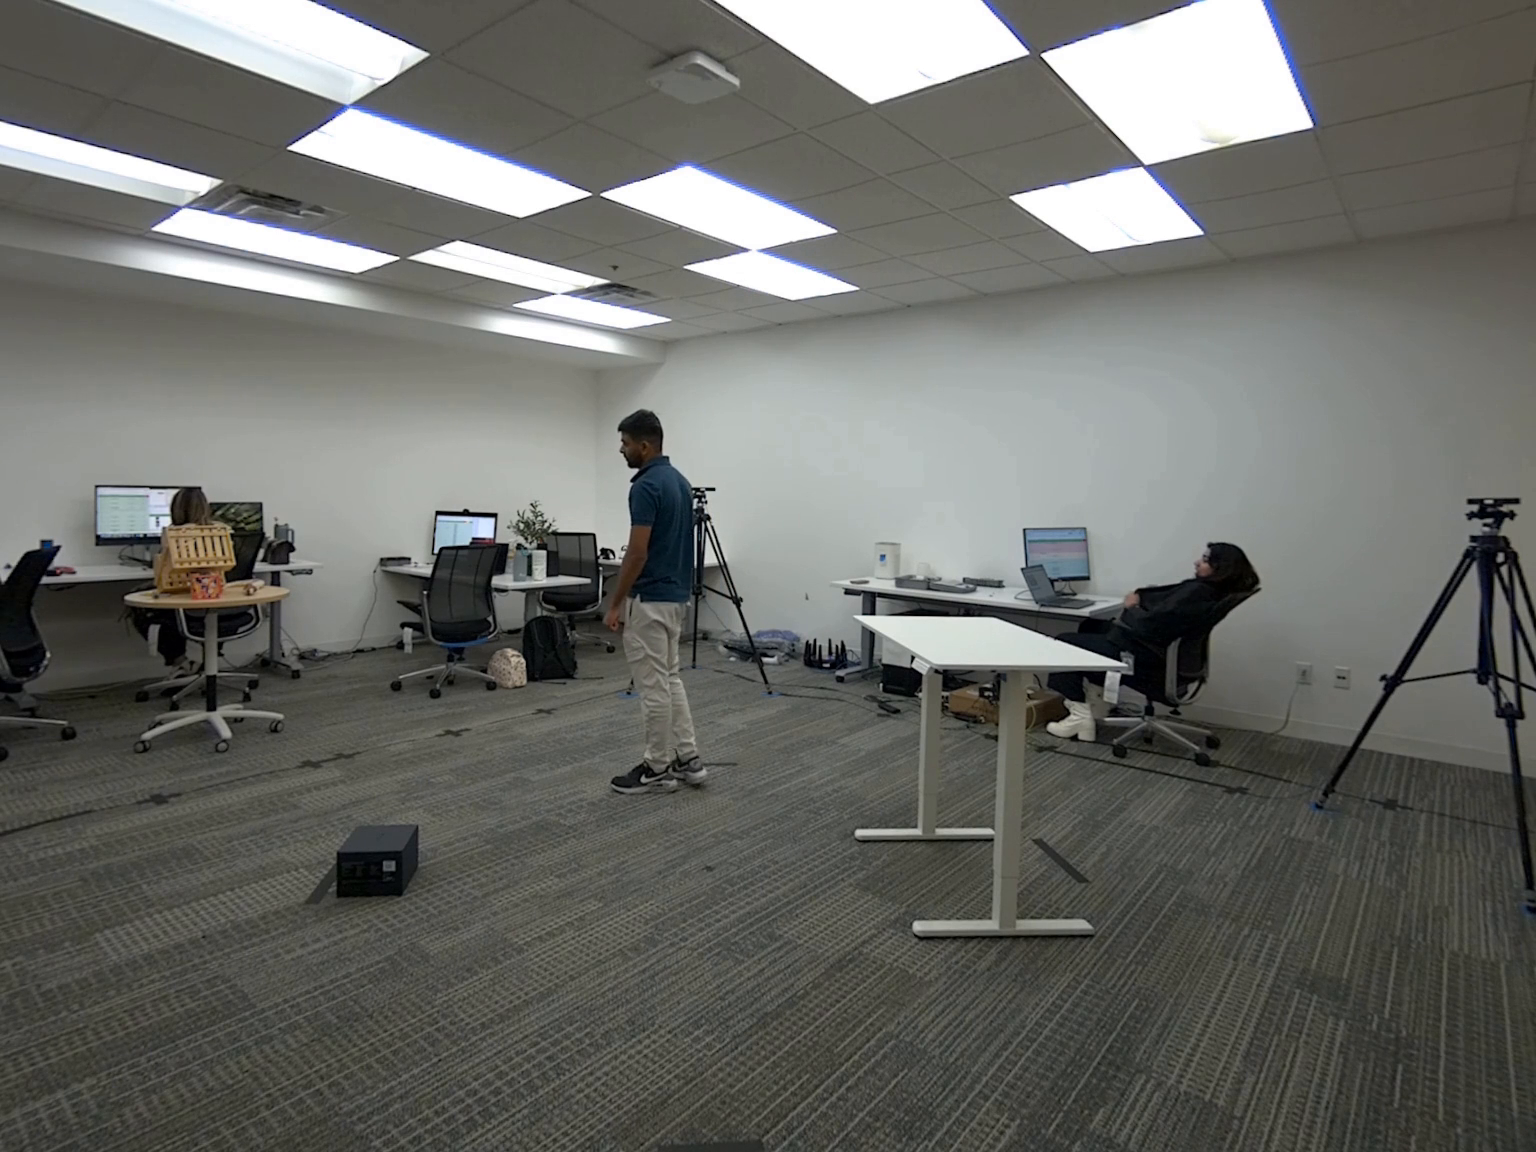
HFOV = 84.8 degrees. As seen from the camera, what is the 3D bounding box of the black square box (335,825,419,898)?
[{"bbox_3d":[-1.365,0.981,2.957,0.215,0.155,0.231,1,5,-8],"label":"black square box"}]
